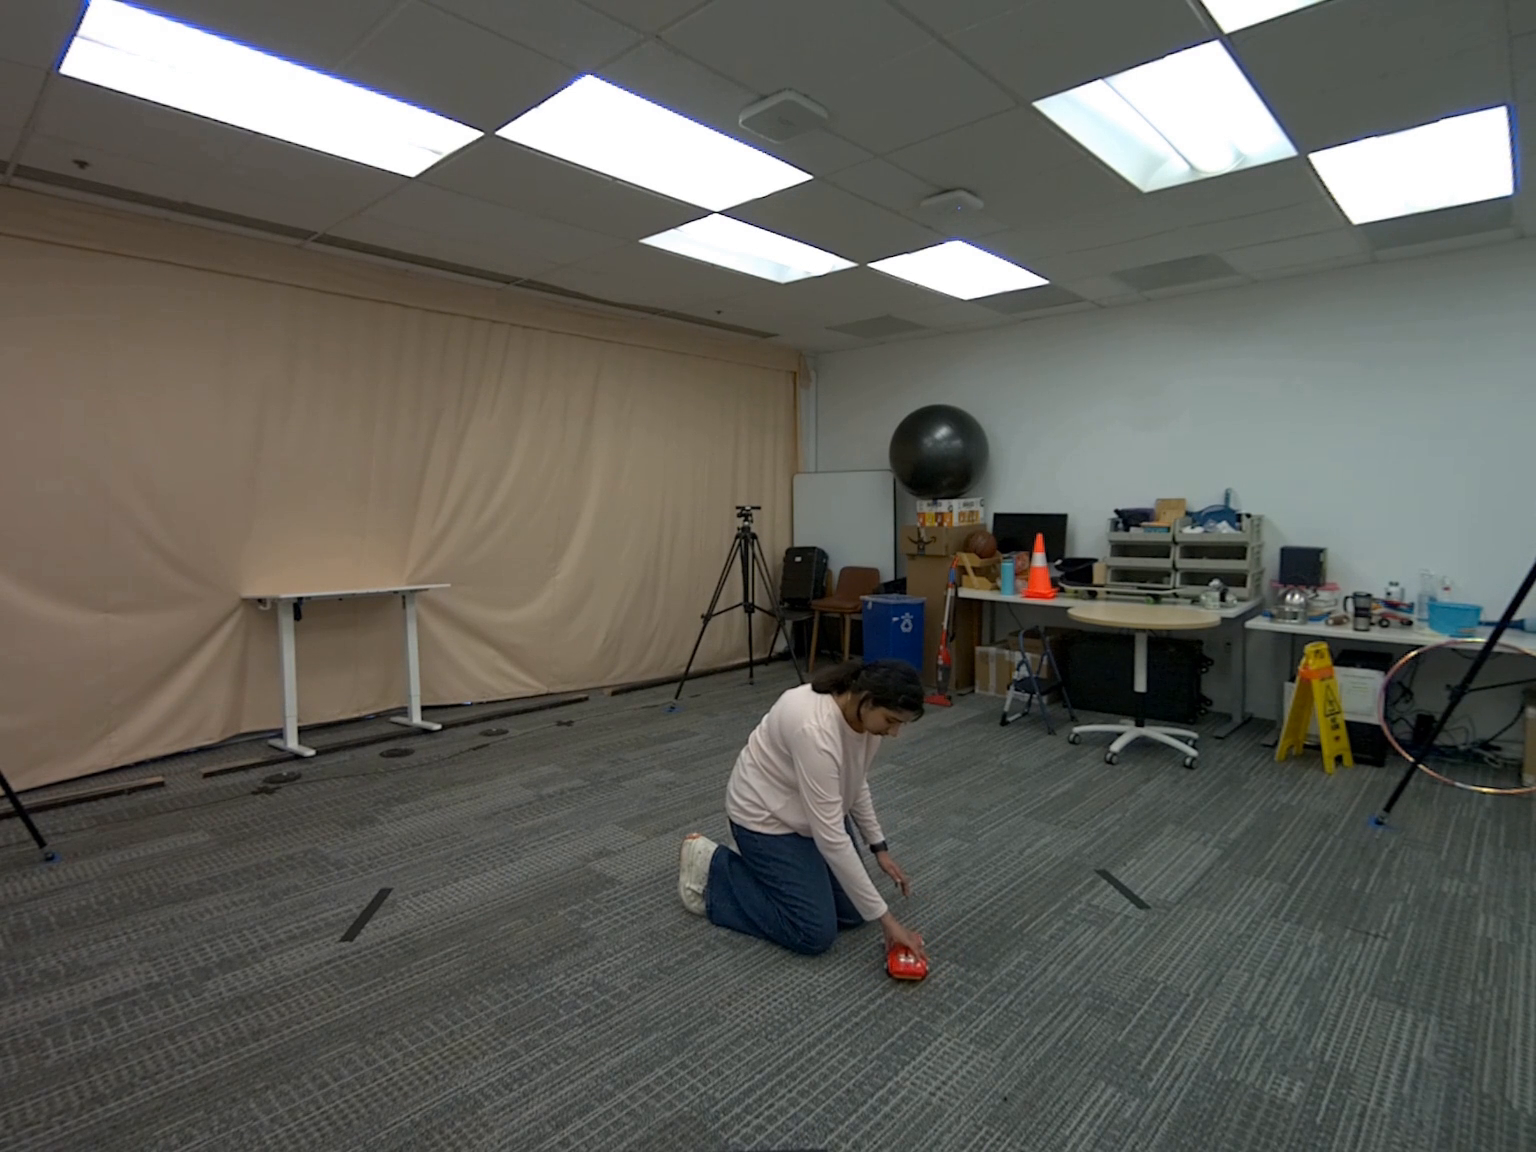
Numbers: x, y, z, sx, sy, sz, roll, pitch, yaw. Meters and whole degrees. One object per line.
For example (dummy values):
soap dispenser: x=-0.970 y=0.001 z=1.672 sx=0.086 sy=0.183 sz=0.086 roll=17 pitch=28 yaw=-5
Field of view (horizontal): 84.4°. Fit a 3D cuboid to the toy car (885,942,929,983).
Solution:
toy car: x=0.419 y=1.157 z=2.538 sx=0.131 sy=0.083 sz=0.252 roll=0 pitch=-2 yaw=7
